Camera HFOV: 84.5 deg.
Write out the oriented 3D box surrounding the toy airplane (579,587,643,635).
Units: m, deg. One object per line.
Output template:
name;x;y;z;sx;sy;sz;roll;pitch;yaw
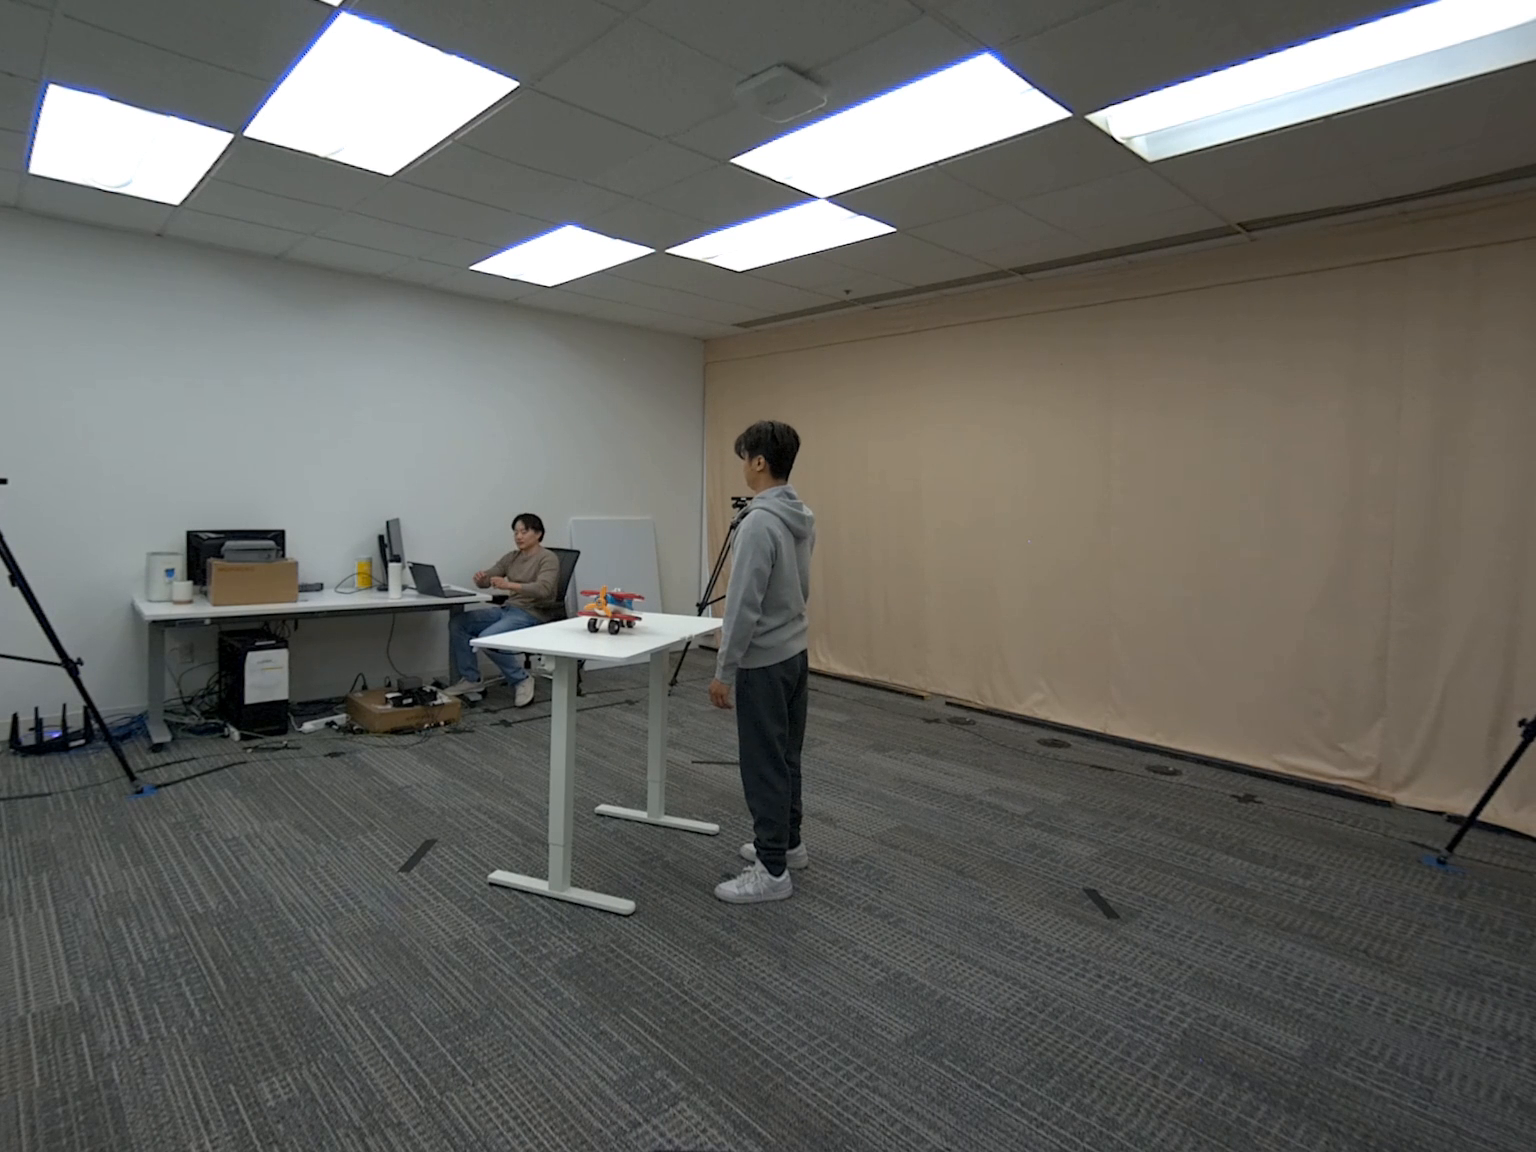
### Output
toy airplane;-0.604;0.130;3.202;0.249;0.156;0.262;1;5;-9
